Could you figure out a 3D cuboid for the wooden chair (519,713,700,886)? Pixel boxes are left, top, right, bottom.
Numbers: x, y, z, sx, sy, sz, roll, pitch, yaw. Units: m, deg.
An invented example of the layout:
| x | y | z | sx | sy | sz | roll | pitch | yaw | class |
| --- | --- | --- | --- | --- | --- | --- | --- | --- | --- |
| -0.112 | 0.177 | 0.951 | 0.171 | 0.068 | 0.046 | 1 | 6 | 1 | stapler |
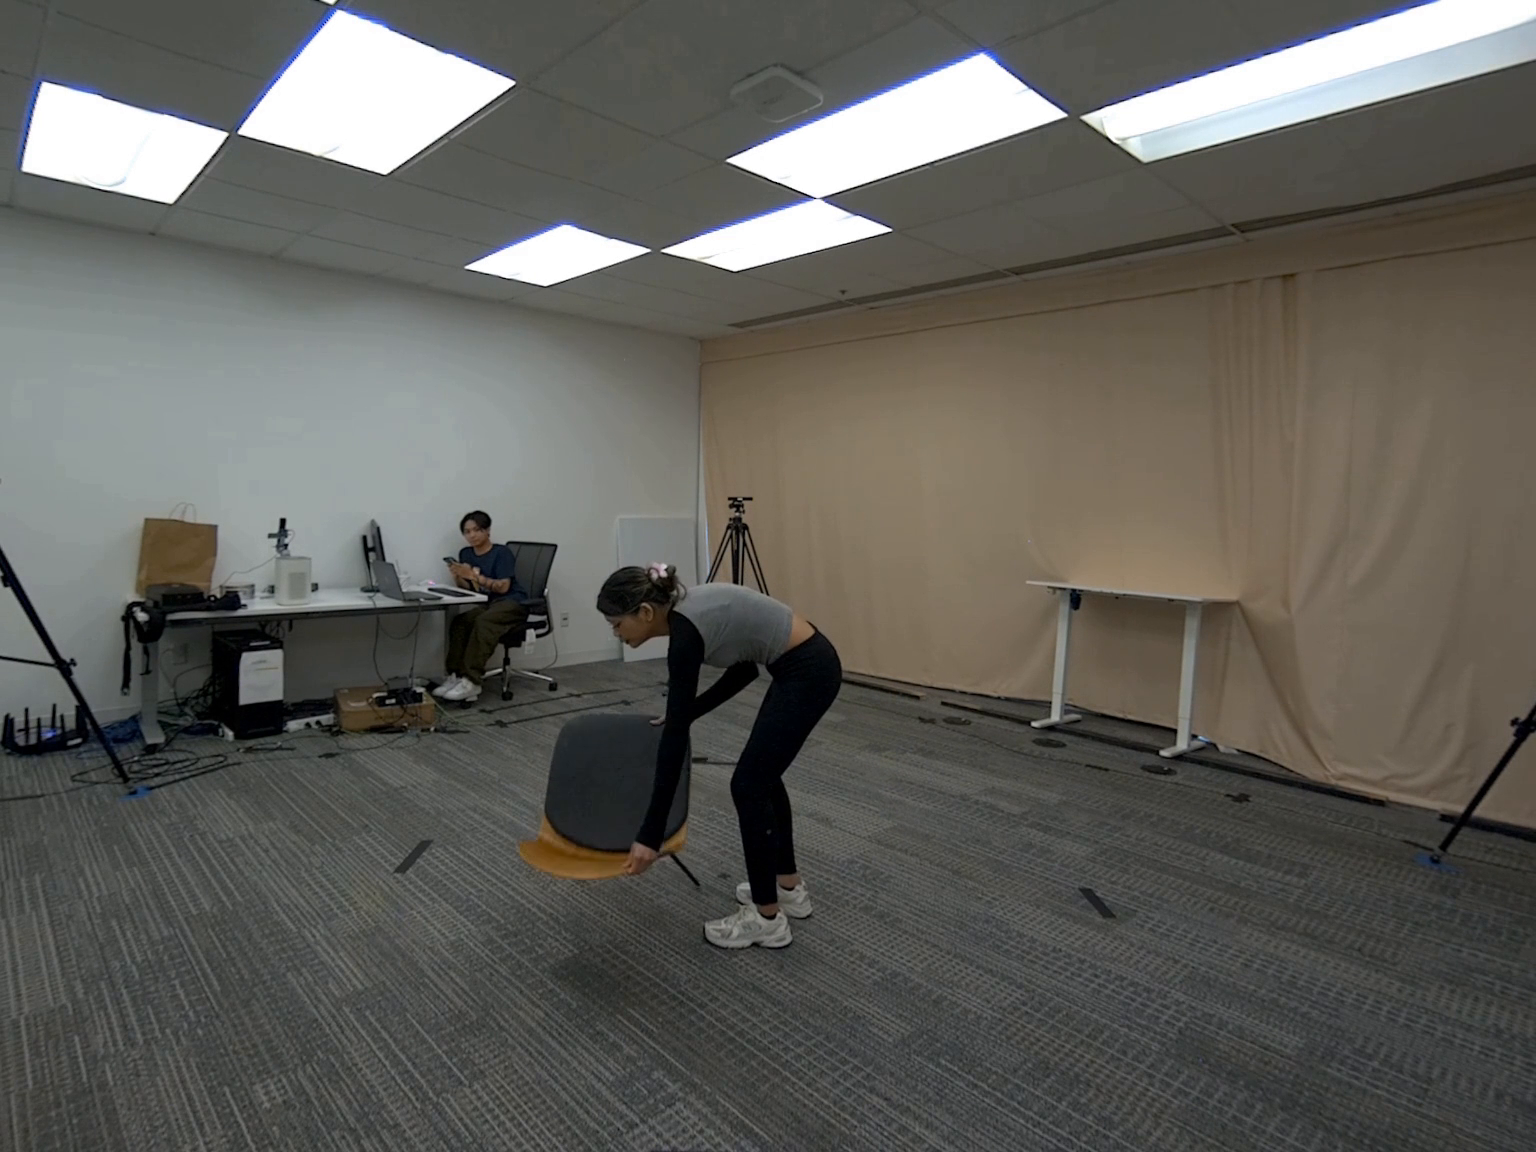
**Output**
| x | y | z | sx | sy | sz | roll | pitch | yaw | class |
| --- | --- | --- | --- | --- | --- | --- | --- | --- | --- |
| -0.490 | 0.716 | 2.750 | 0.480 | 0.530 | 0.861 | 1 | -20 | 5 | wooden chair |
